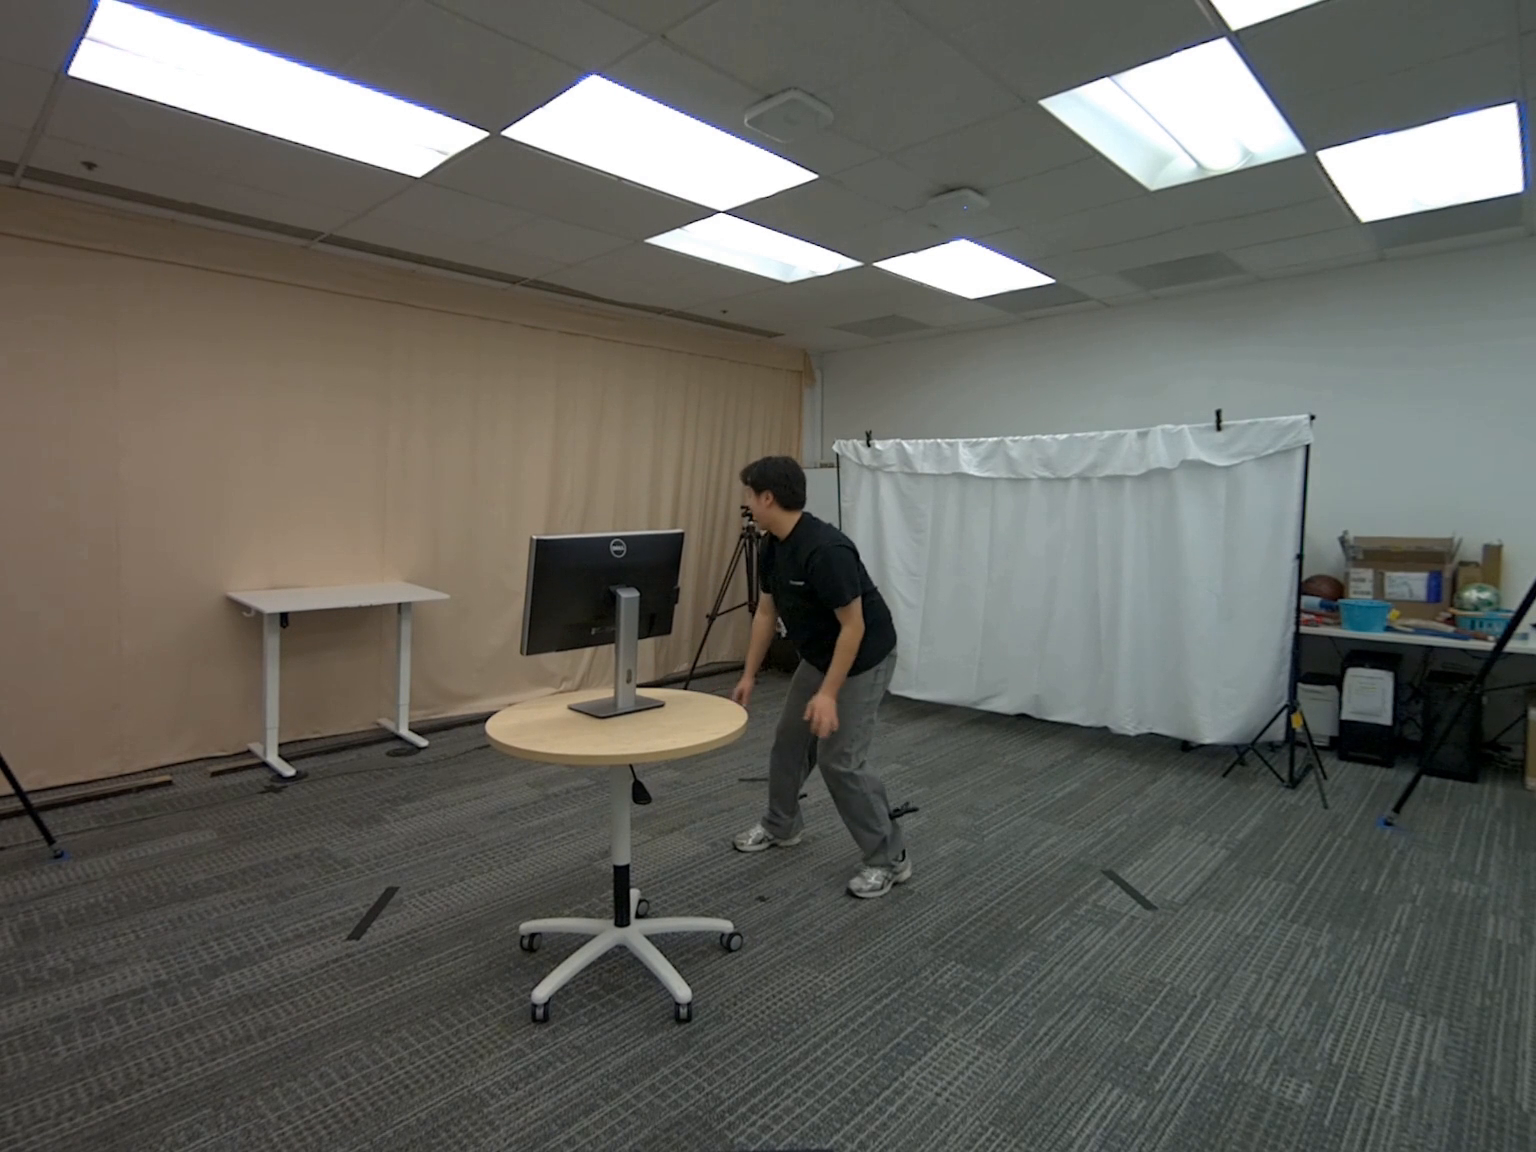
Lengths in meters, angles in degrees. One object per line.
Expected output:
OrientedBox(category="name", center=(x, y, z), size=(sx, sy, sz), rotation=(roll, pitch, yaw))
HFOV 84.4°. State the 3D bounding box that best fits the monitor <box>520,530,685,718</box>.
OrientedBox(category="monitor", center=(-0.457, 0.144, 2.574), size=(0.548, 0.551, 0.217), rotation=(-4, 11, -44))
